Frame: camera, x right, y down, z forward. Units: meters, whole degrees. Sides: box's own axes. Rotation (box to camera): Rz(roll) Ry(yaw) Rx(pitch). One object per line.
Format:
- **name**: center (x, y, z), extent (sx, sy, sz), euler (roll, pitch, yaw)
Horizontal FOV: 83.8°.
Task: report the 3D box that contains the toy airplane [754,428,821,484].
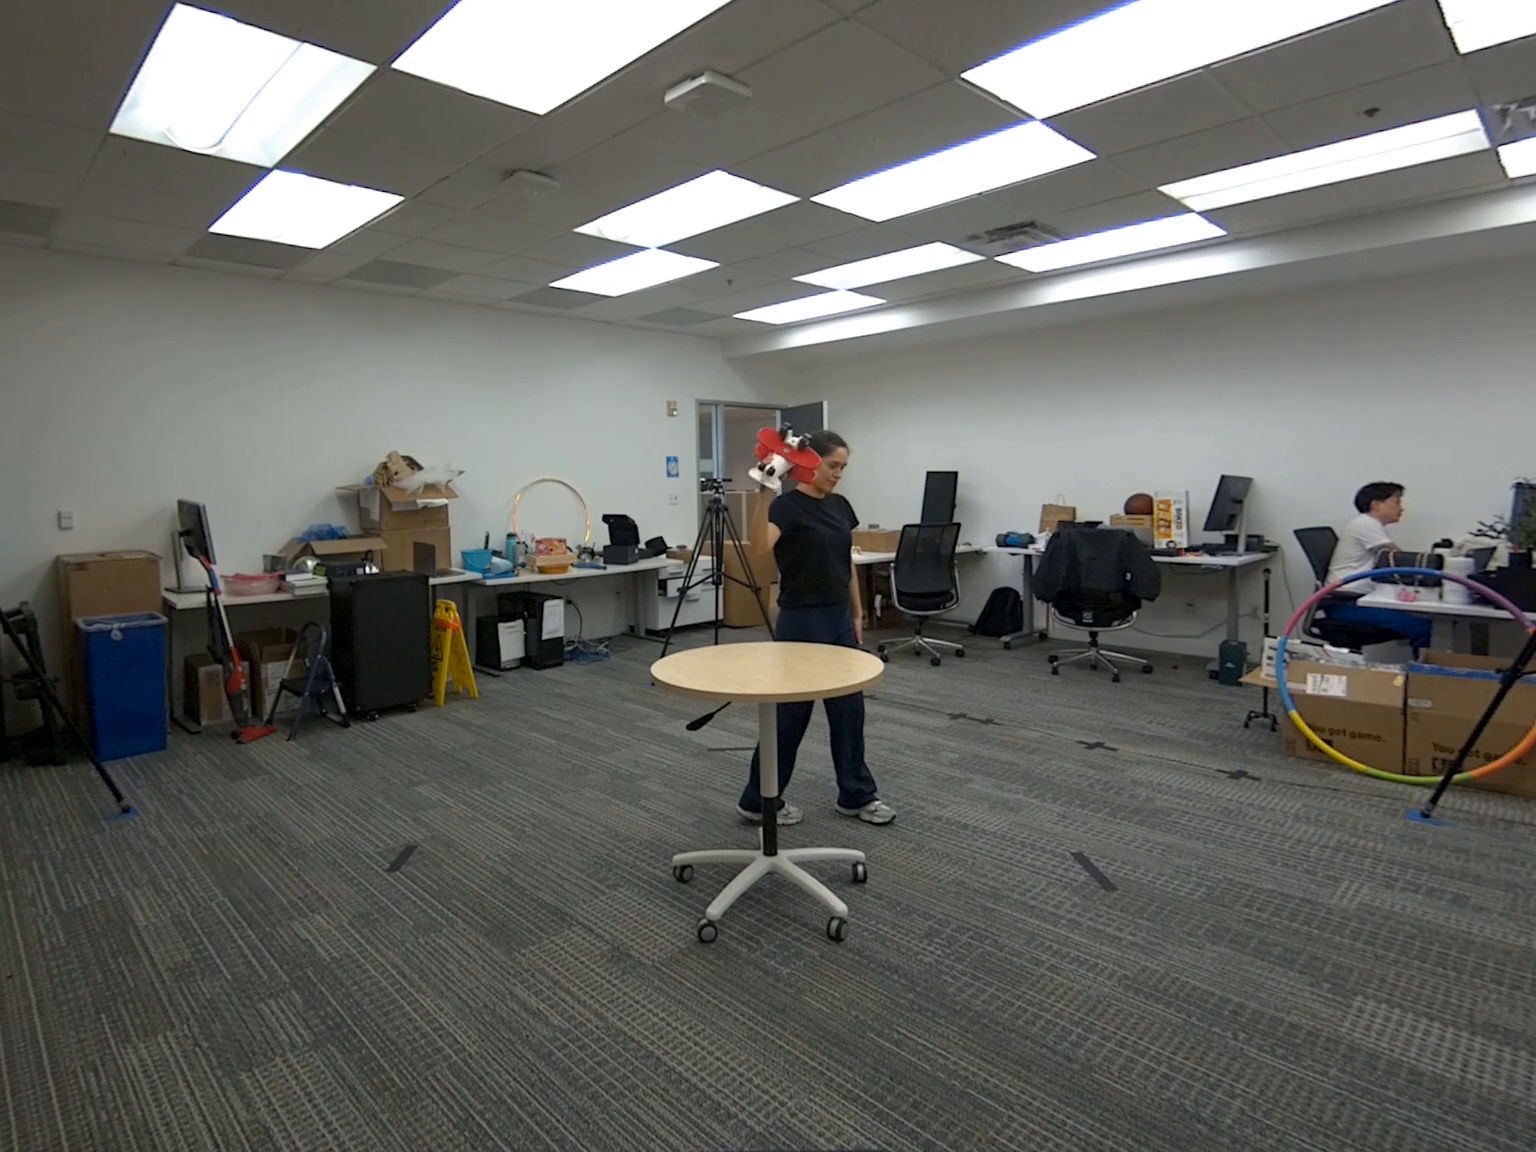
- **toy airplane**: center (0.048, -0.414, 3.048), extent (0.258, 0.258, 0.153), euler (-25, -24, -11)
